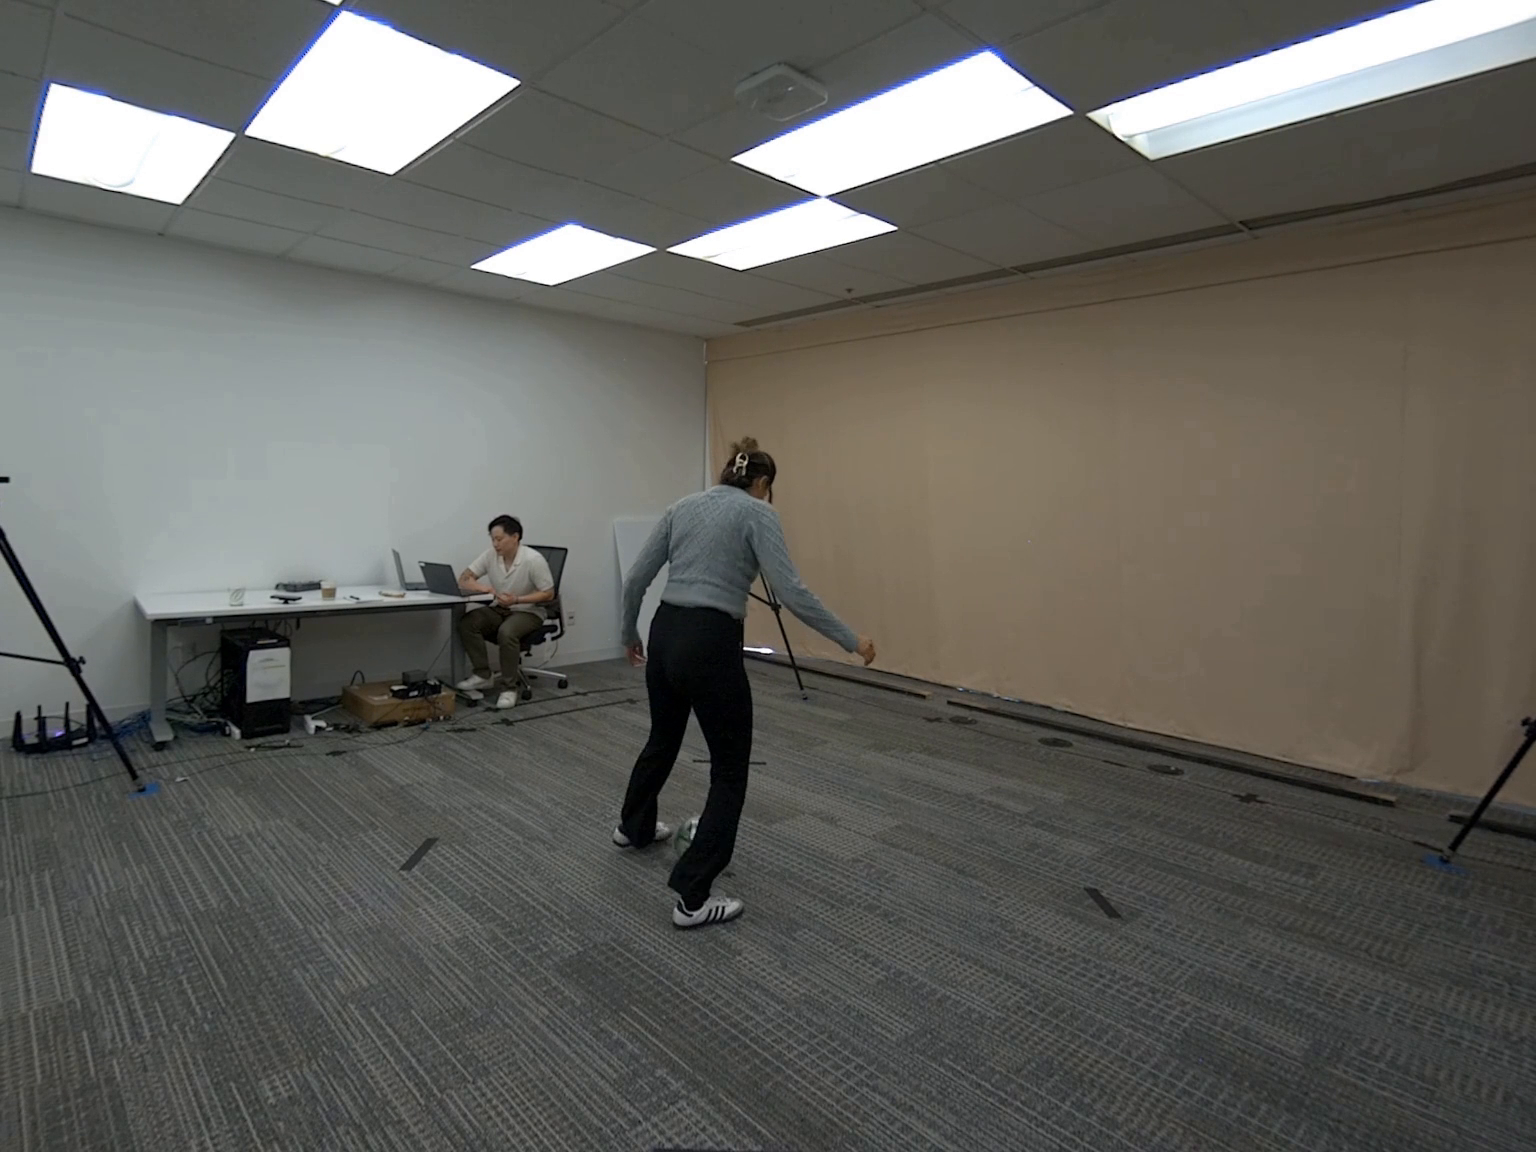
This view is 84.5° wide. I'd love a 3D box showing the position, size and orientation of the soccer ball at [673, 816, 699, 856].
[{"bbox_3d":[-0.253,1.007,3.124,0.187,0.187,0.188,1,4,-1],"label":"soccer ball"}]
